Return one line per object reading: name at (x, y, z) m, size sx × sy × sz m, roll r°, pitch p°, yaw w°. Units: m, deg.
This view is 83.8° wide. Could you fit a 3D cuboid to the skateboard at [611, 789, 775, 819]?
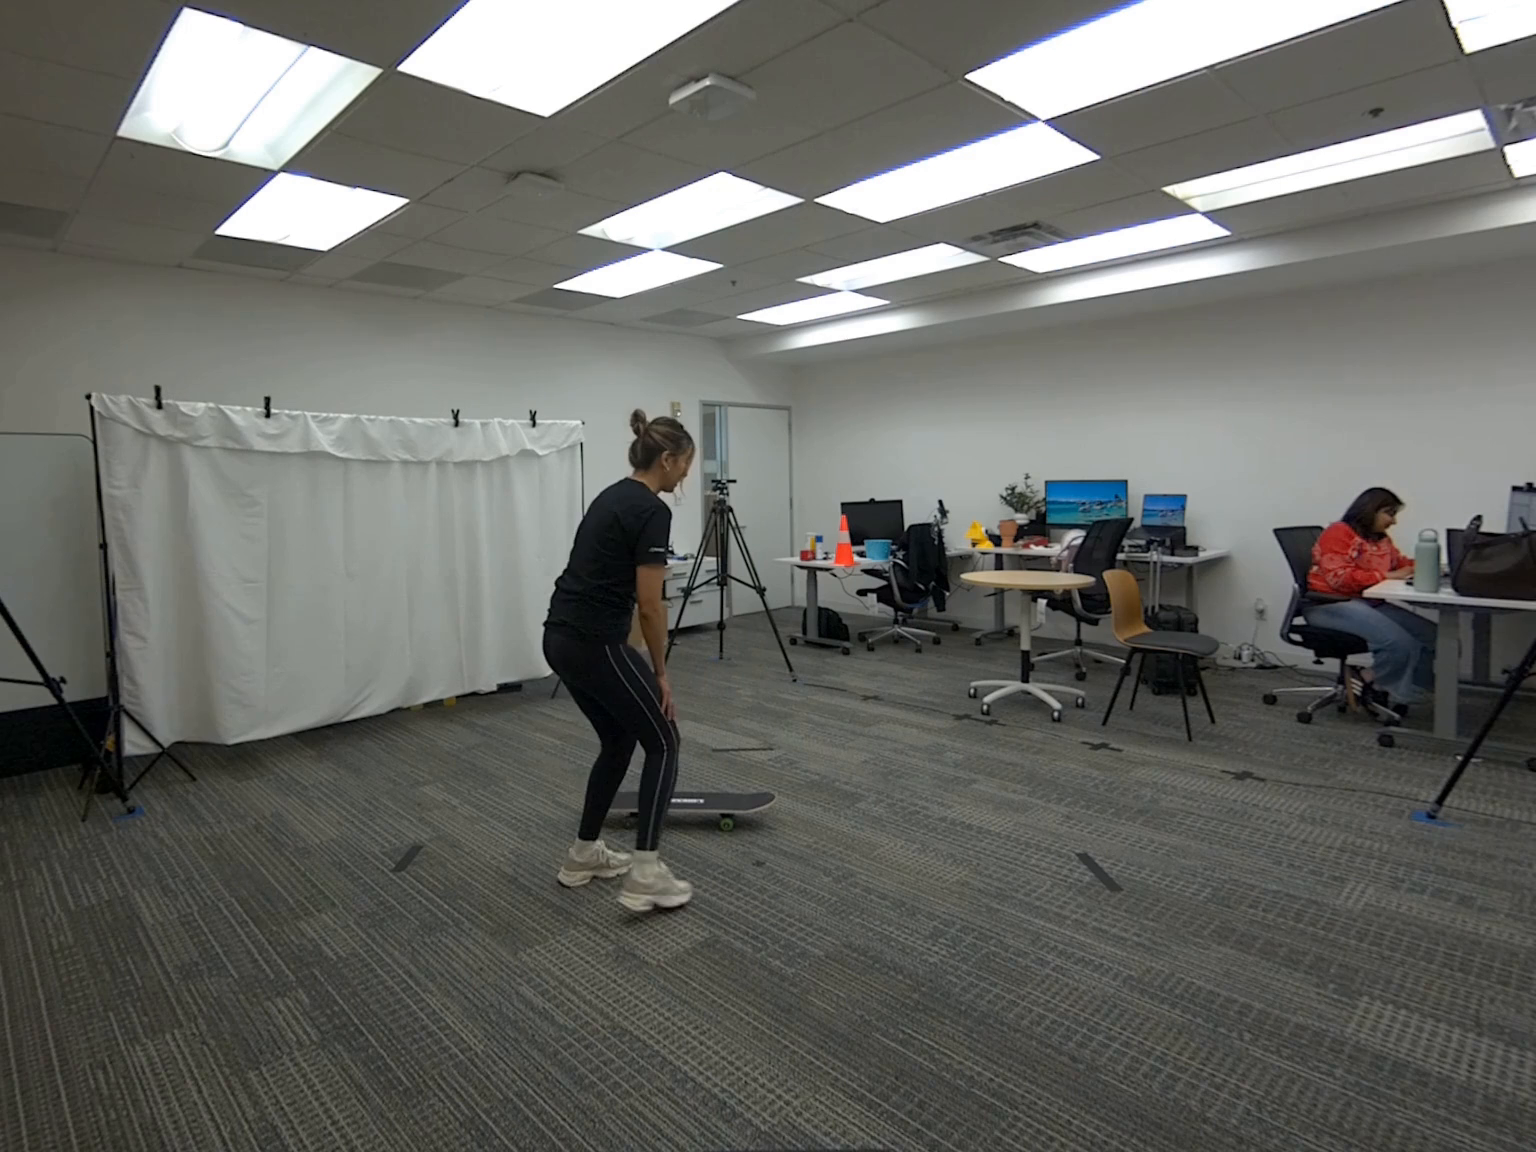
skateboard at (-0.354, 0.952, 3.501) m, size 0.790 × 0.110 × 0.193 m, roll -1°, pitch 7°, yaw 6°
